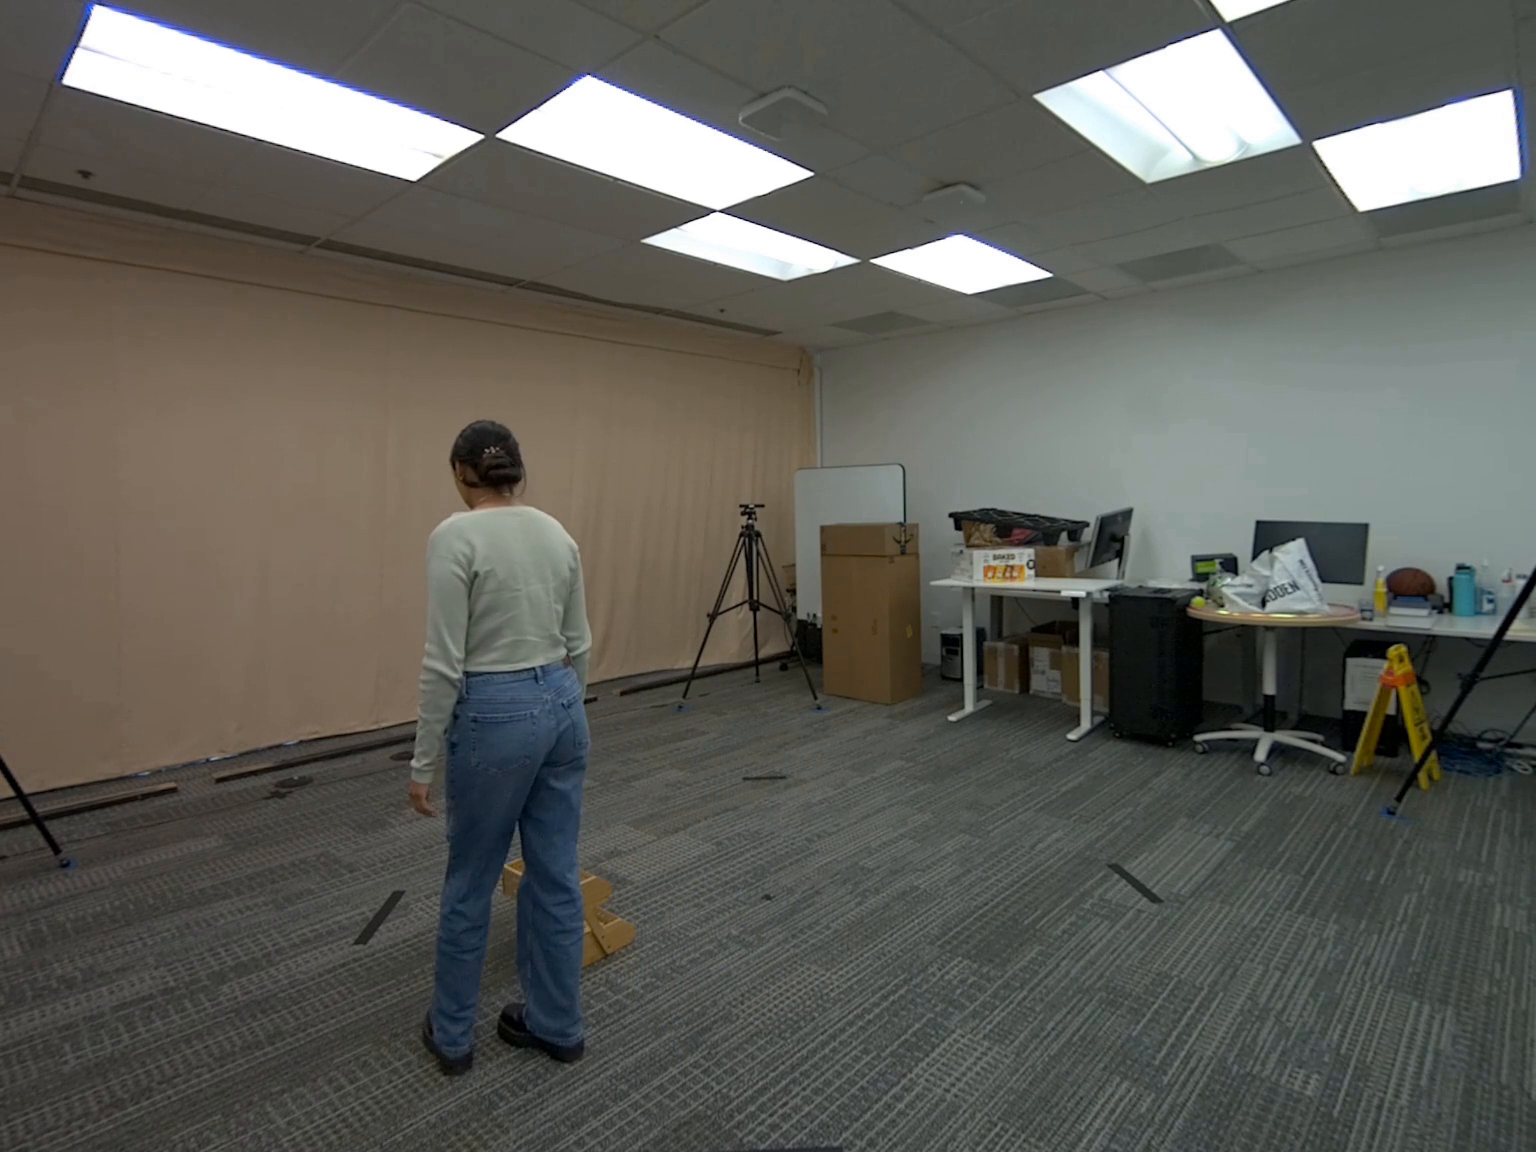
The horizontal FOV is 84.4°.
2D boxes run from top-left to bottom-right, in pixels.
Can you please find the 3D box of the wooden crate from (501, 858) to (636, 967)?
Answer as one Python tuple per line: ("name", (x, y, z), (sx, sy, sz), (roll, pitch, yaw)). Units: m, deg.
("wooden crate", (-0.635, 1.045, 2.694), (0.335, 0.272, 0.293), (2, 6, 42))
